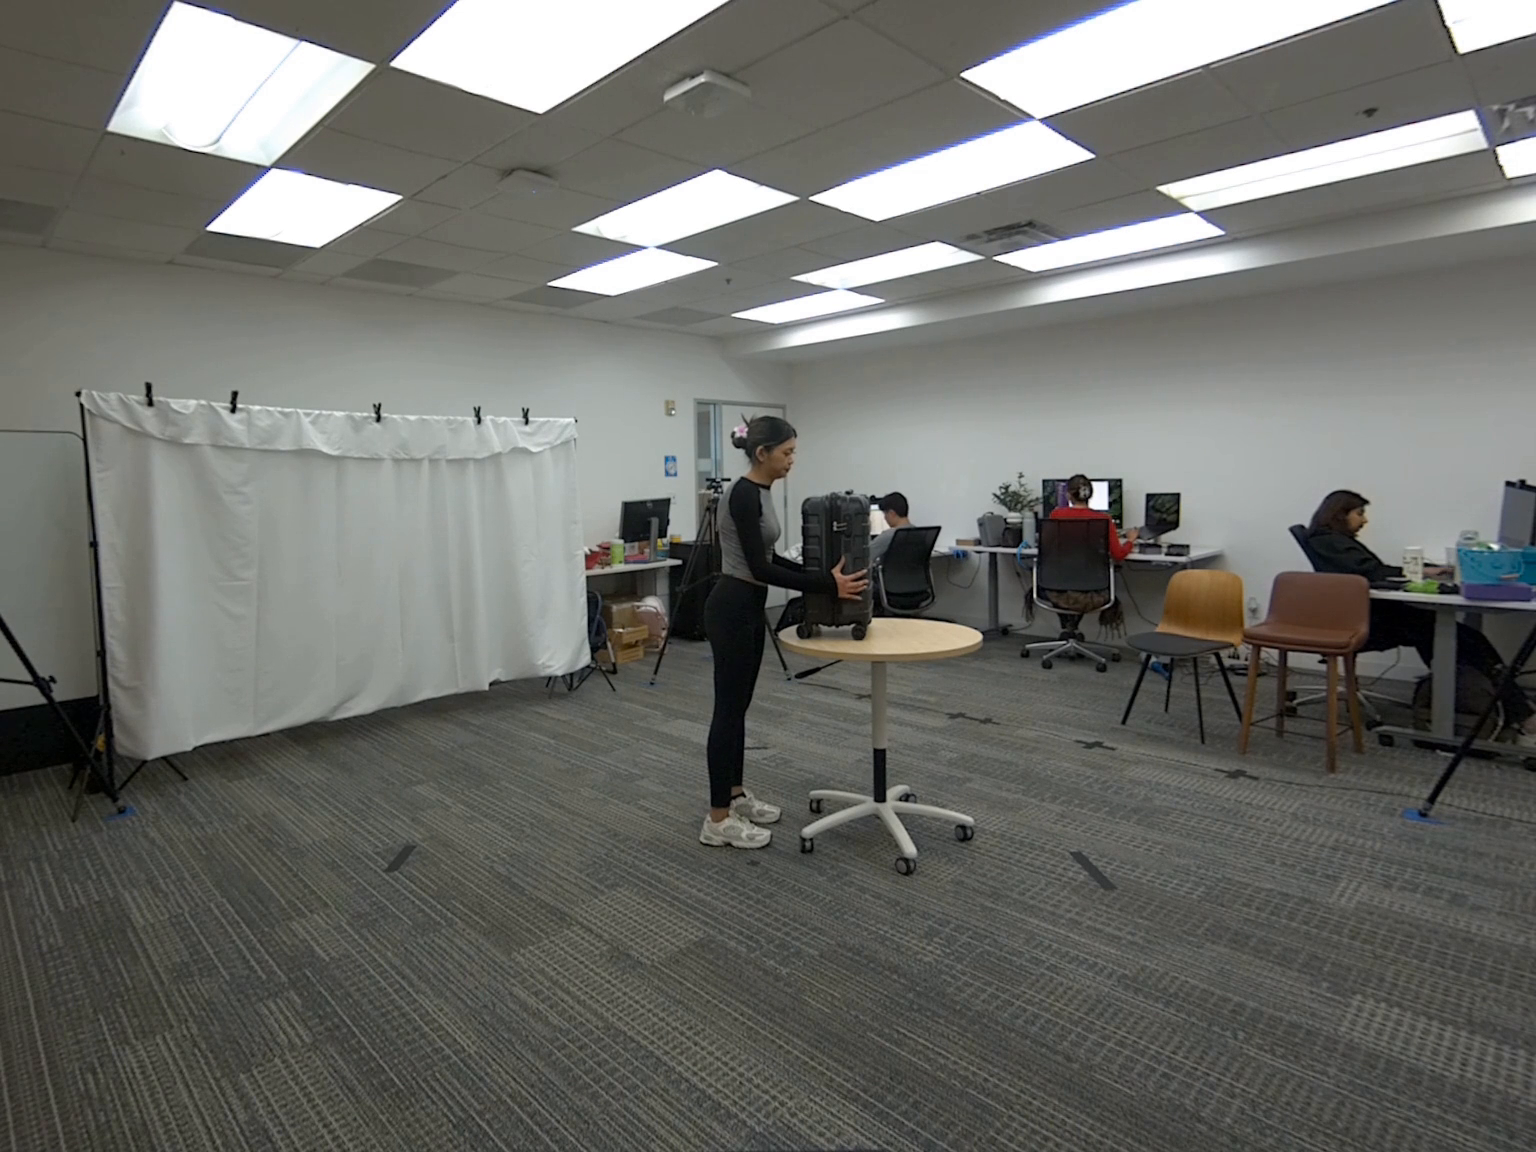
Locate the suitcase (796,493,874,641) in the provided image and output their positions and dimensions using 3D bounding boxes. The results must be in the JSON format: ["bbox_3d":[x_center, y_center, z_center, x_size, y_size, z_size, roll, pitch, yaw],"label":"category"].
[{"bbox_3d":[0.267,-0.055,3.301,0.251,0.547,0.373,0,5,11],"label":"suitcase"}]
